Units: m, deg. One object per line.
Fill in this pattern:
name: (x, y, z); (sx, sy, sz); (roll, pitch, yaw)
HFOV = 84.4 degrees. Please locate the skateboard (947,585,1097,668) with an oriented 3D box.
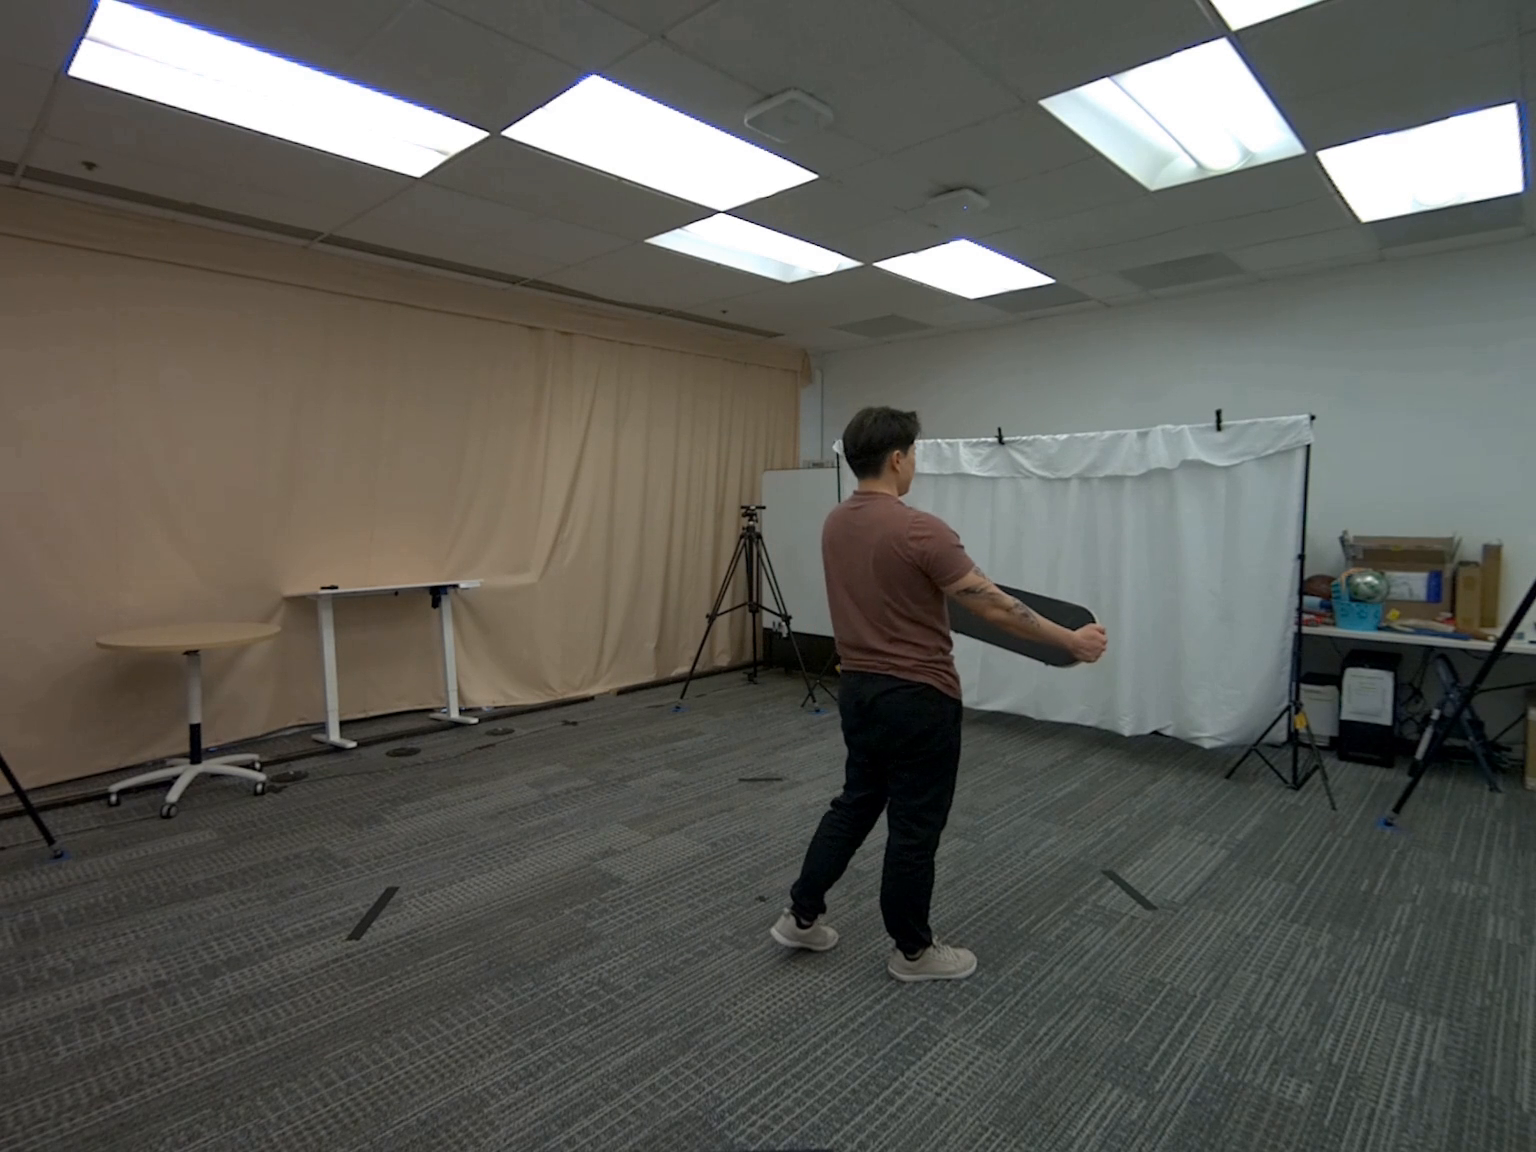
skateboard: (0.734, 0.136, 2.677); (0.107, 0.193, 0.810); (25, -3, -31)
